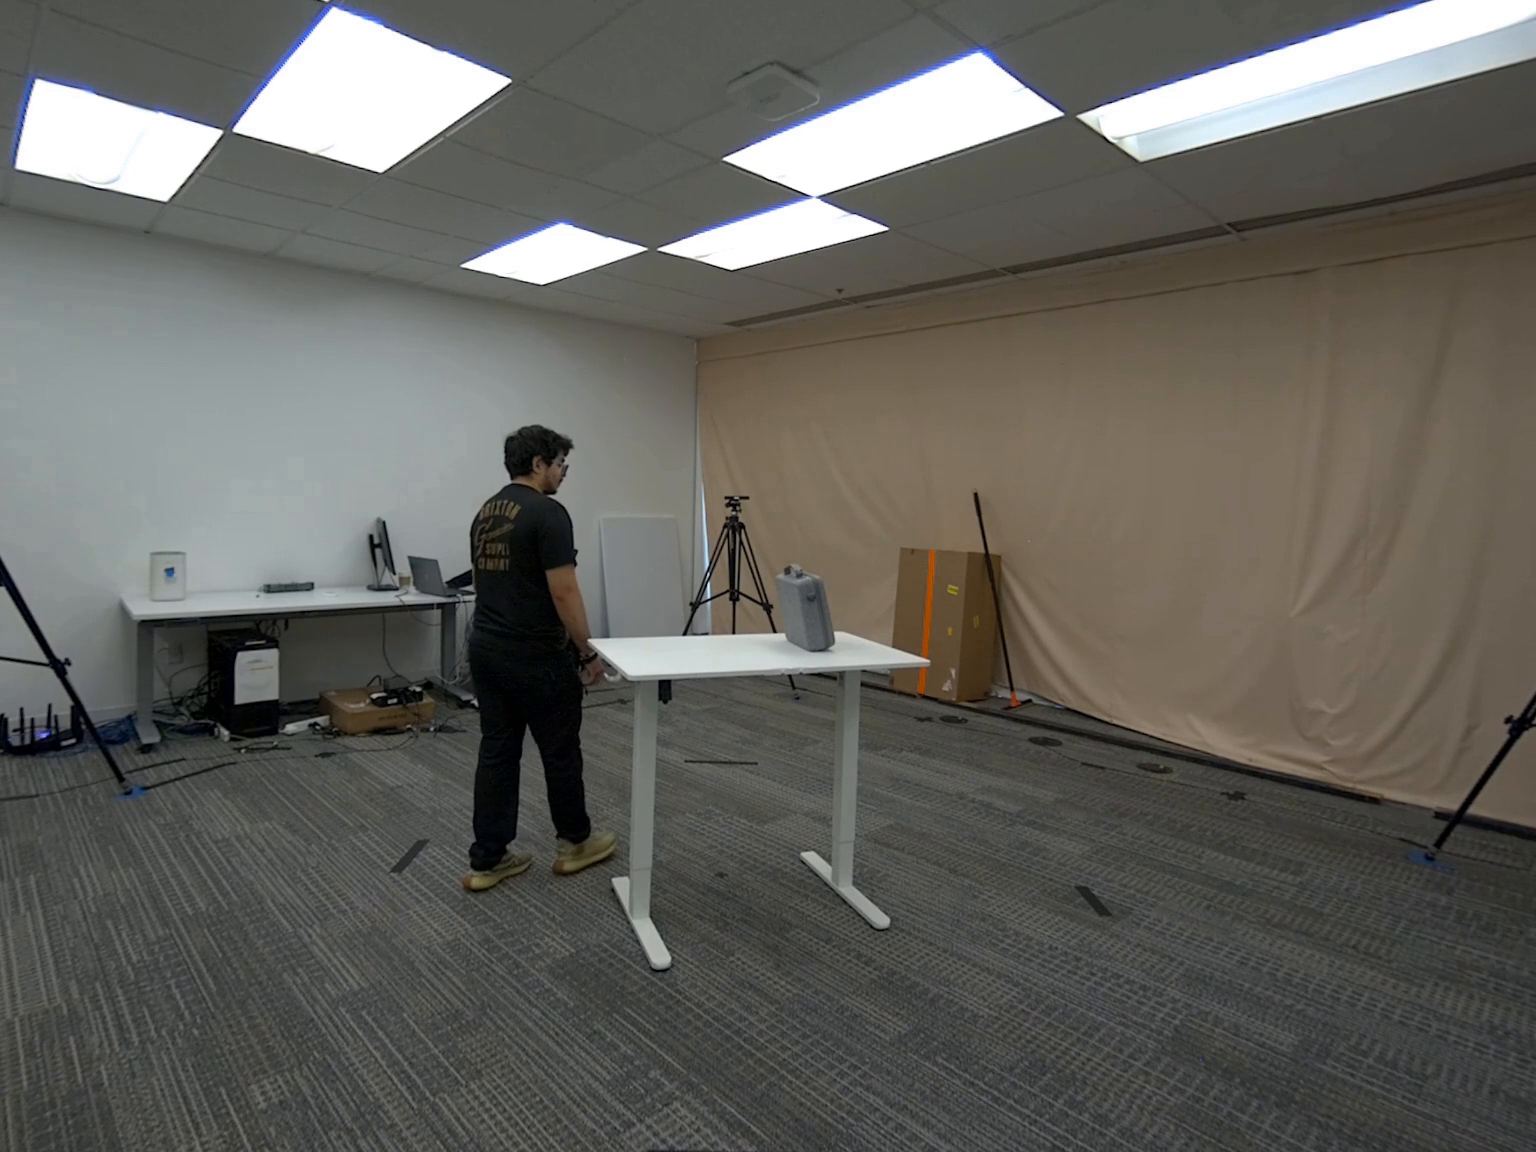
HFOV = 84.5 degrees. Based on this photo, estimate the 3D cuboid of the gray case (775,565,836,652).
[{"bbox_3d":[0.117,0.116,2.923,0.103,0.259,0.261,-10,8,-18],"label":"gray case"}]
